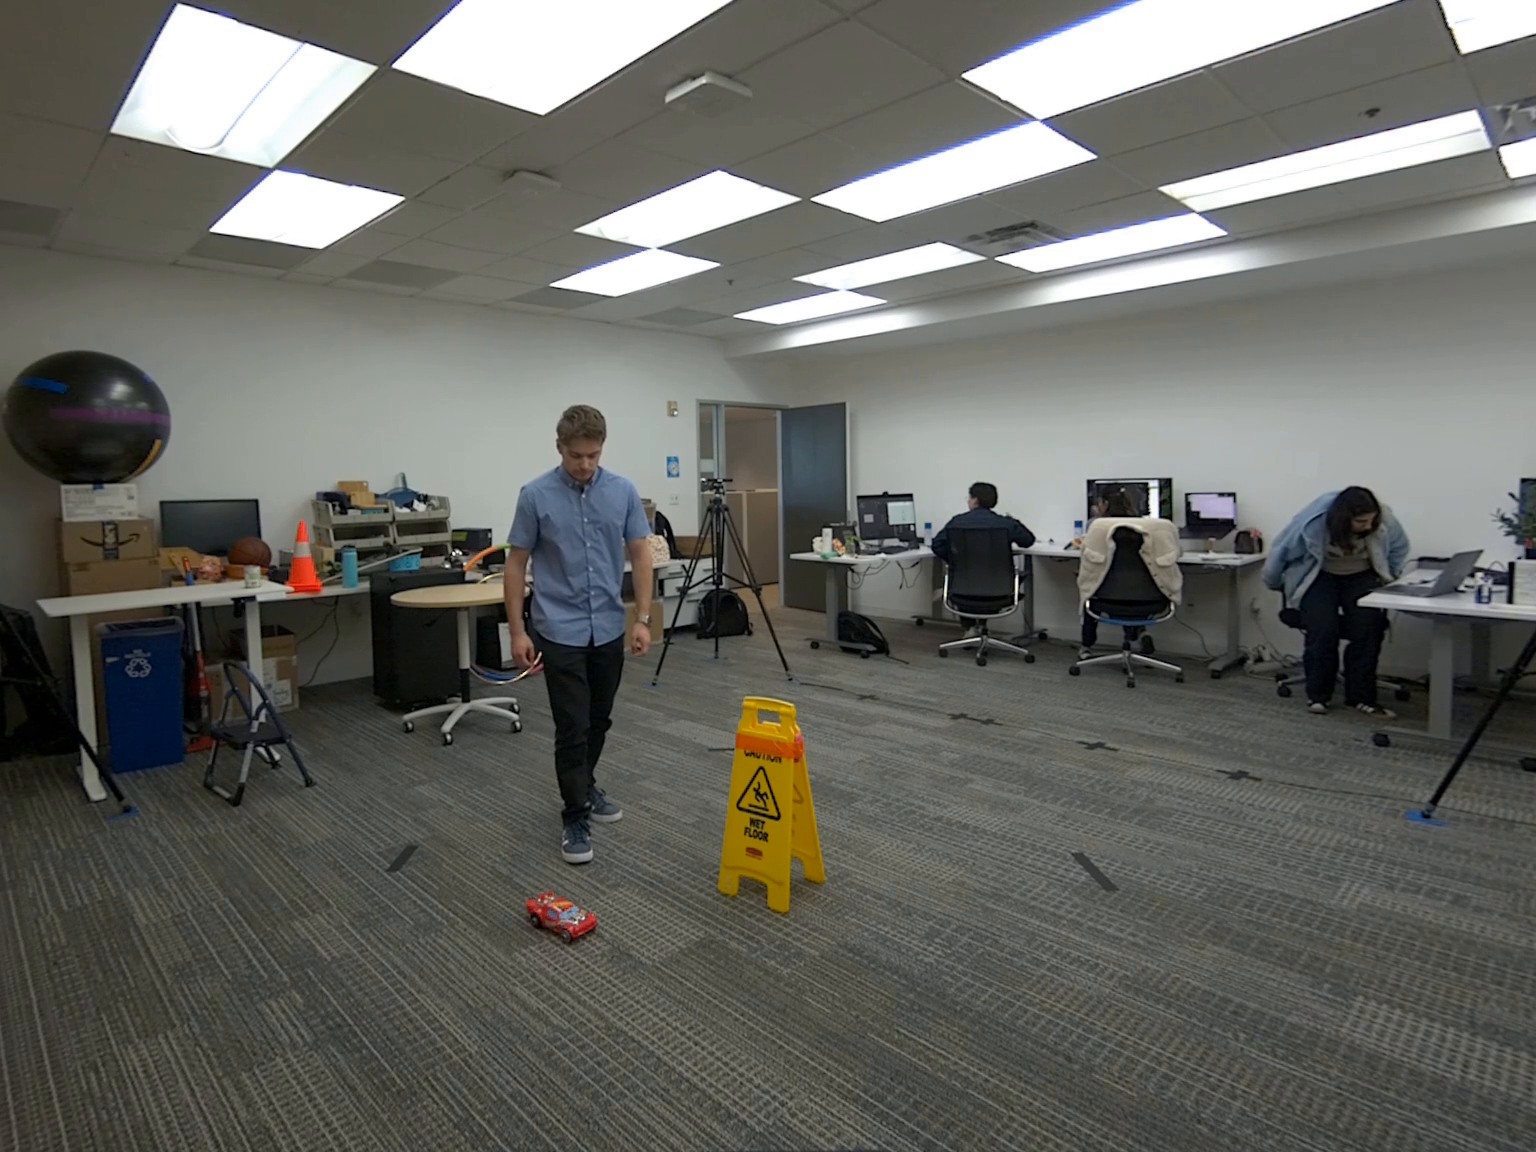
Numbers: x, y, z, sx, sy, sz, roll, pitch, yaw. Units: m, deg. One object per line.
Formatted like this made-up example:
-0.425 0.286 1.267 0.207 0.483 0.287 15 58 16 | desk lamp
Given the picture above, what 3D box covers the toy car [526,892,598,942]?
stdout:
-0.655 1.074 2.692 0.263 0.082 0.127 17 15 36 | toy car
